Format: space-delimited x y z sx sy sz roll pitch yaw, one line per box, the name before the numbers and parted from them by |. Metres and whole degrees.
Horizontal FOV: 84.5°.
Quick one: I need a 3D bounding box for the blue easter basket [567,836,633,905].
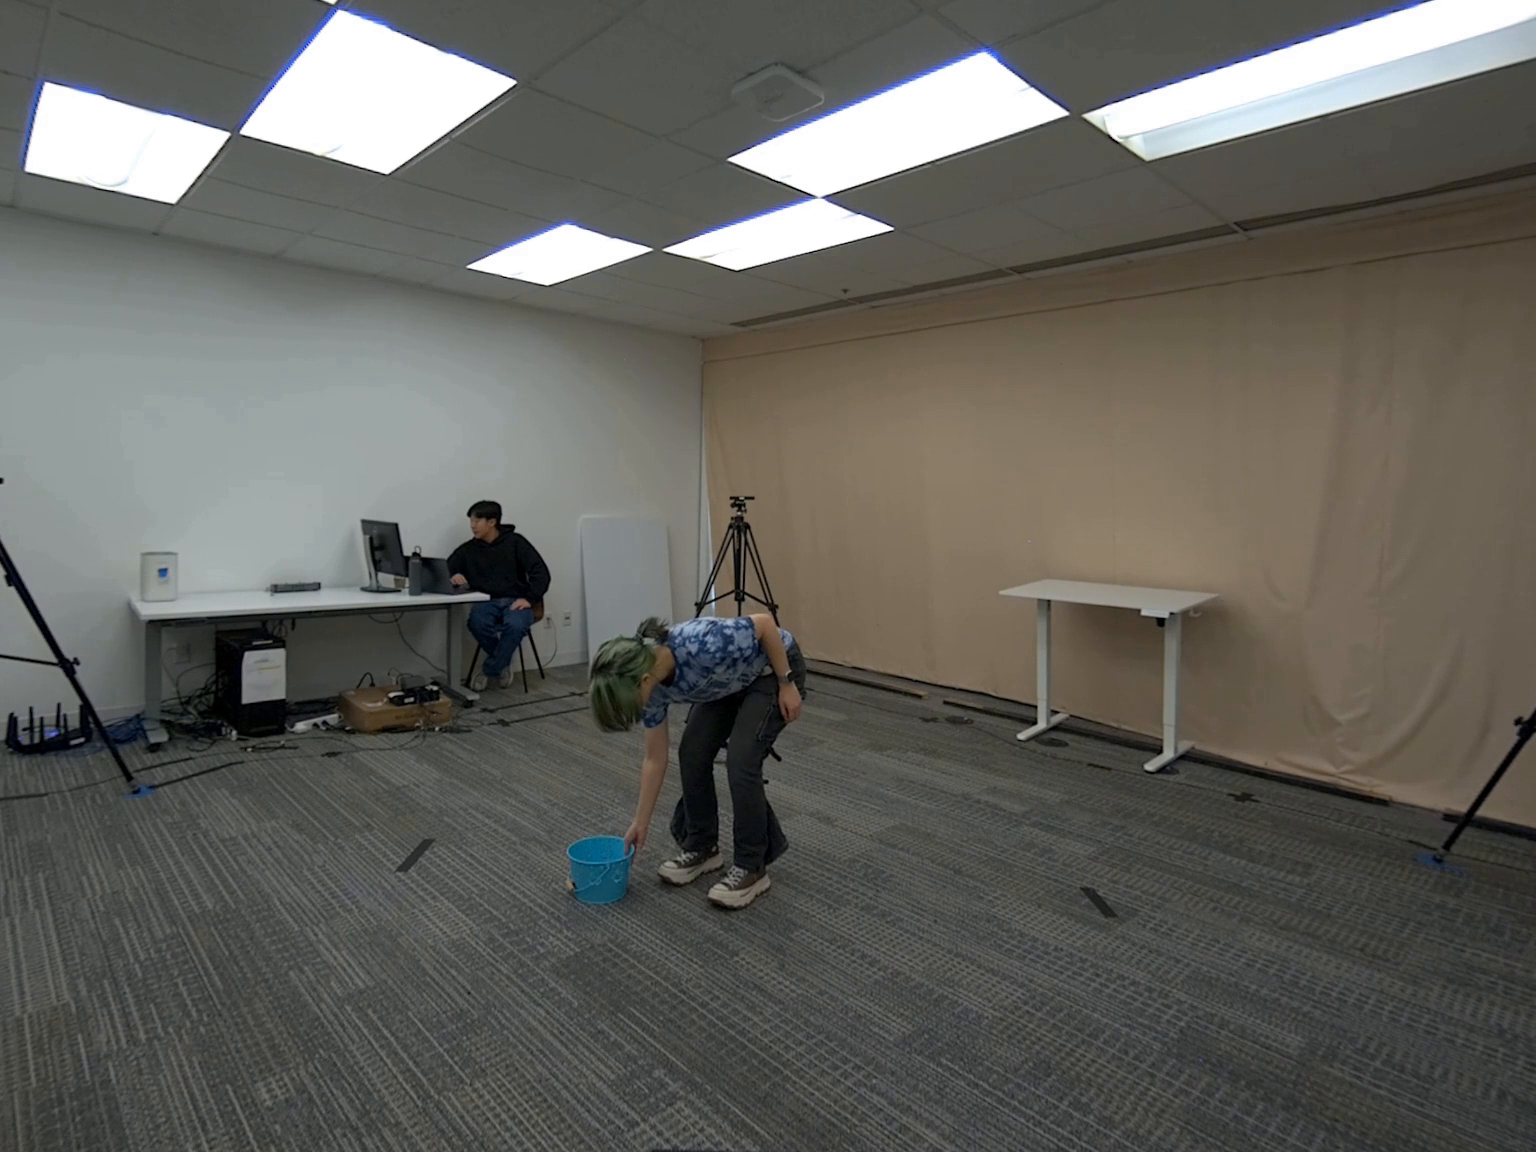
blue easter basket | -0.598 1.032 2.947 0.243 0.155 0.244 1 5 -1
